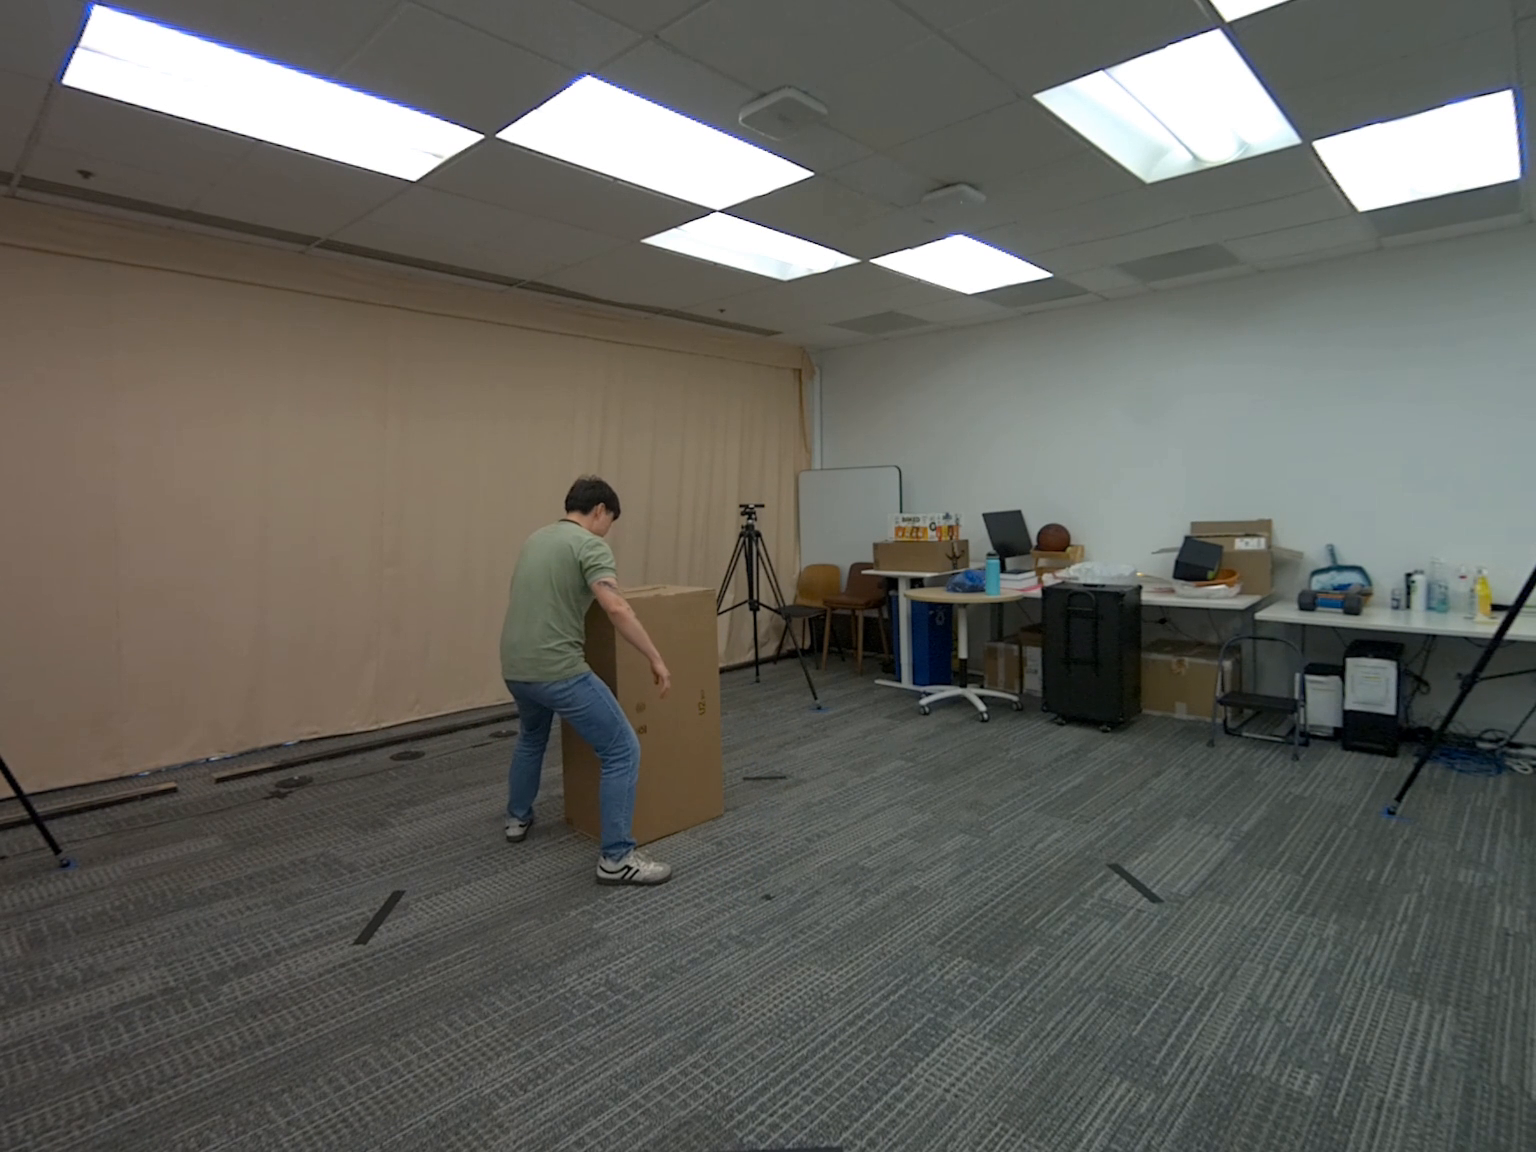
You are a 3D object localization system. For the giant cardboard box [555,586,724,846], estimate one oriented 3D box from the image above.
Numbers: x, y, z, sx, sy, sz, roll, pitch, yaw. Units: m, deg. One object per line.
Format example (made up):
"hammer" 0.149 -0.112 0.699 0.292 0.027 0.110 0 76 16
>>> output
"giant cardboard box" -0.562 0.576 3.719 0.440 1.024 0.560 1 4 44
